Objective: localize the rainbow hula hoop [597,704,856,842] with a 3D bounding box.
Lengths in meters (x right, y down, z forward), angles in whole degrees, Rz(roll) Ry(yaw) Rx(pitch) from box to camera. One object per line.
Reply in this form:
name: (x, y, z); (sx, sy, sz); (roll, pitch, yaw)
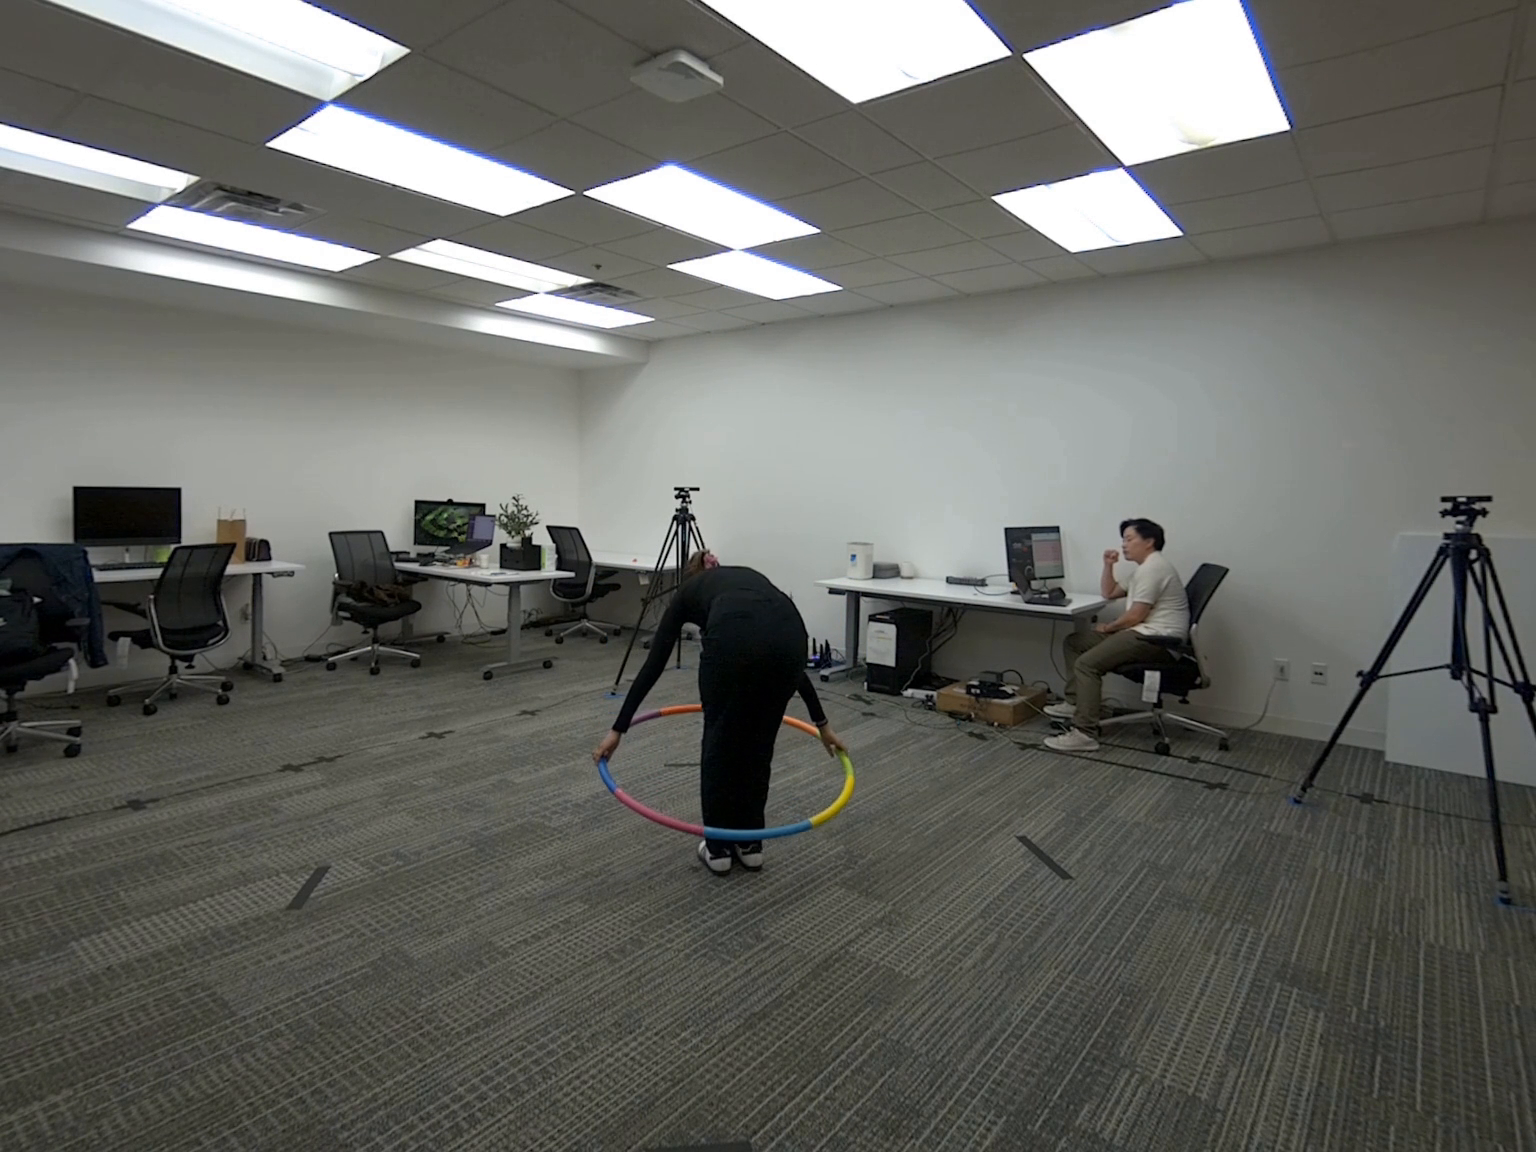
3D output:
rainbow hula hoop: (-0.169, 0.707, 3.239); (0.977, 0.035, 0.993); (3, 15, -3)
